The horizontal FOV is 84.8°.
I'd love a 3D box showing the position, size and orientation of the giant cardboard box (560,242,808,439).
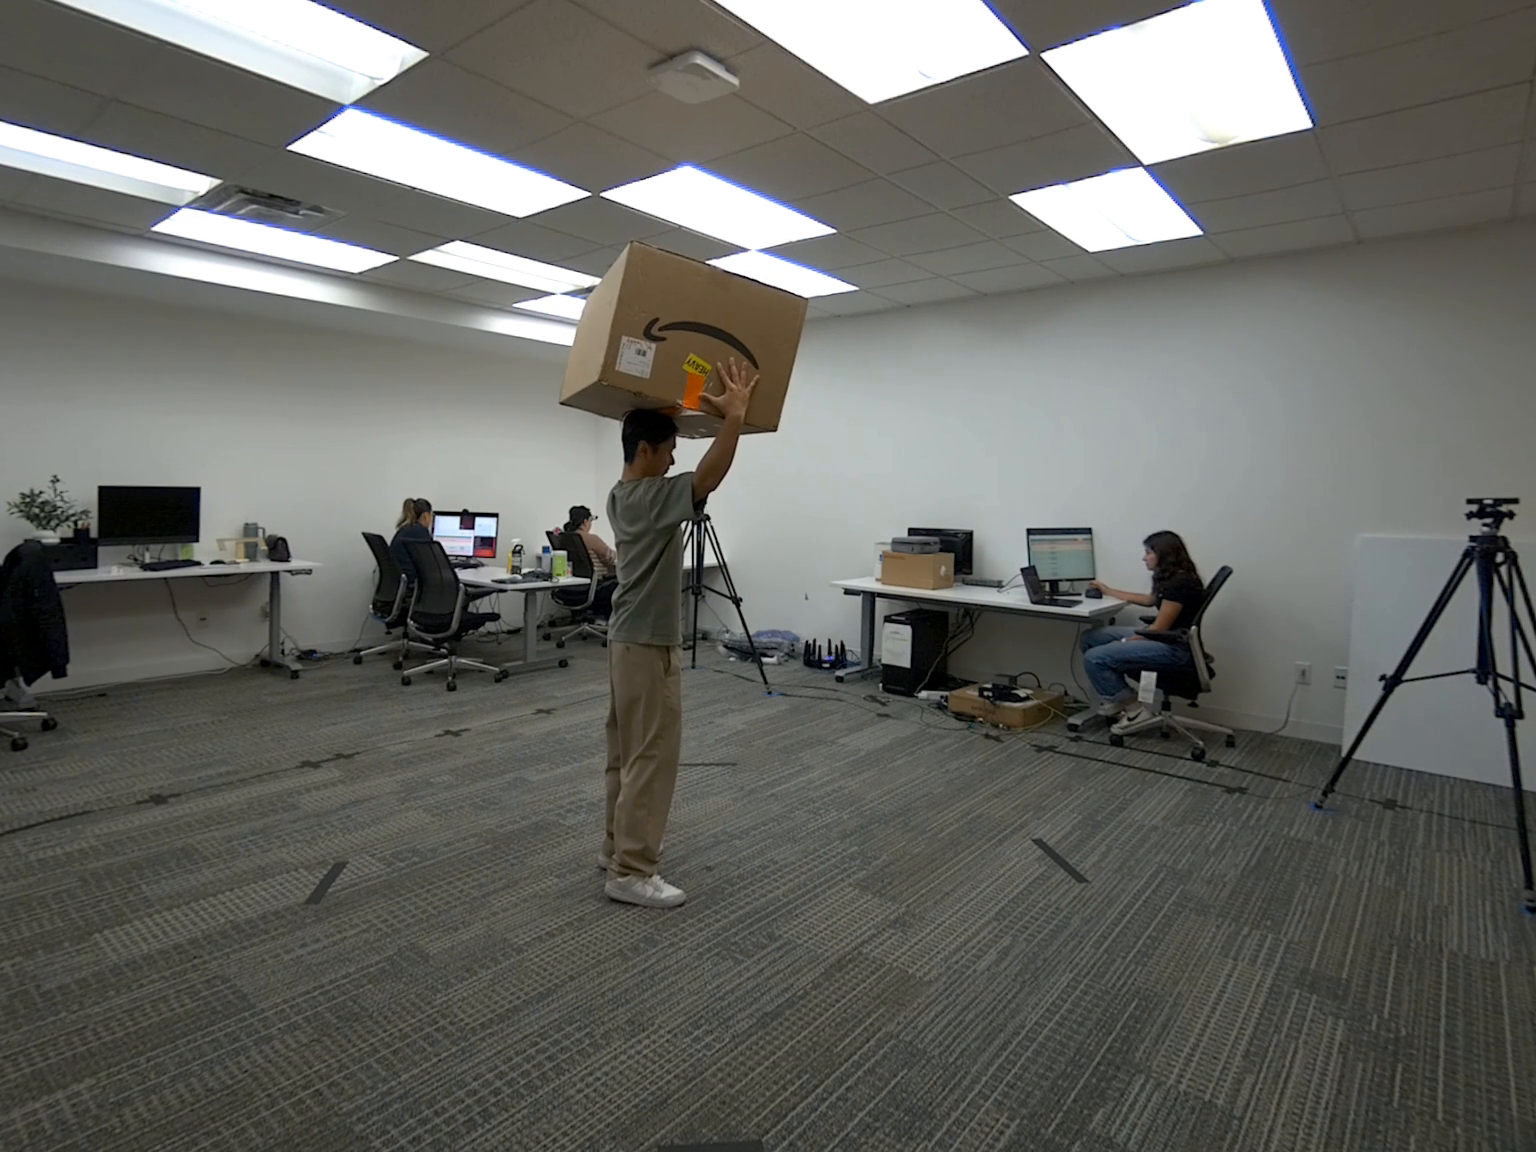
[{"bbox_3d":[-0.359,-0.769,3.009,0.564,0.426,1.051,13,2,-20],"label":"giant cardboard box"}]
